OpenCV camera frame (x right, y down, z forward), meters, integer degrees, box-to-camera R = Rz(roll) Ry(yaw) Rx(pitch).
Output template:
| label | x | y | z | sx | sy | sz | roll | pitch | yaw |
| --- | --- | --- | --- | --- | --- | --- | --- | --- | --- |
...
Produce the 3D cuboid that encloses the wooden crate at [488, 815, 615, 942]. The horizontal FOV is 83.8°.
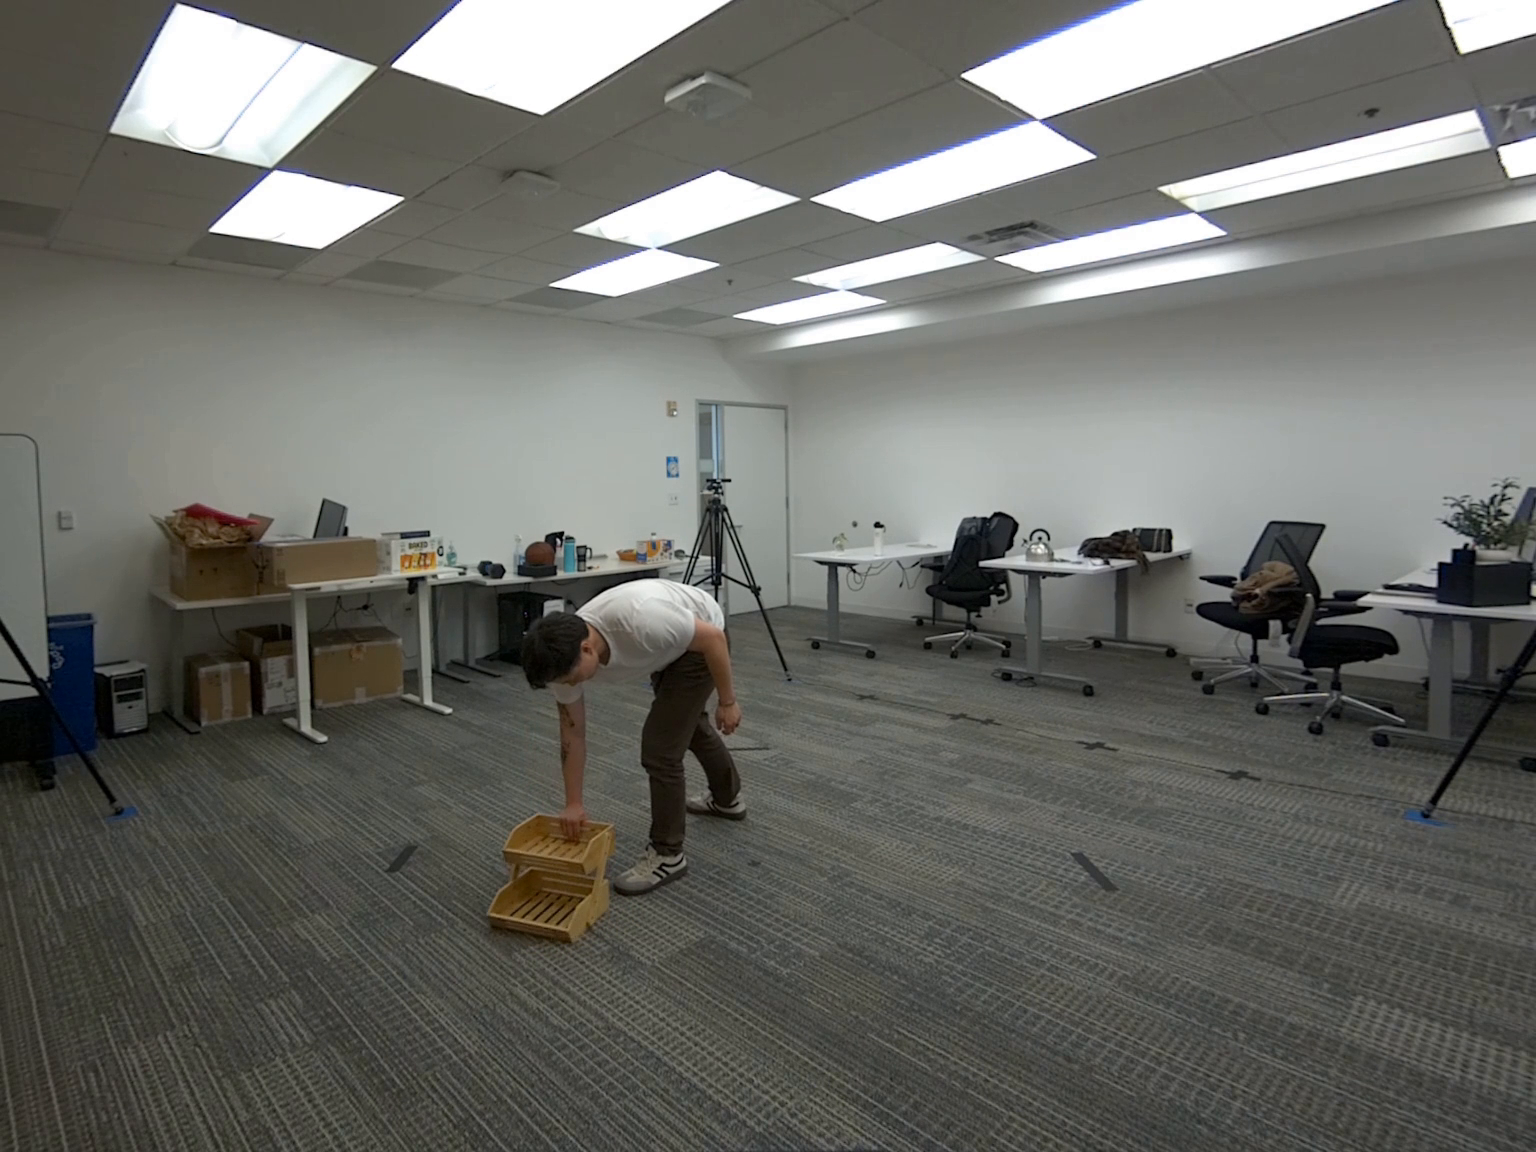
| label | x | y | z | sx | sy | sz | roll | pitch | yaw |
| --- | --- | --- | --- | --- | --- | --- | --- | --- | --- |
| wooden crate | -0.694 | 0.963 | 2.758 | 0.331 | 0.272 | 0.297 | 1 | 4 | 20 |
